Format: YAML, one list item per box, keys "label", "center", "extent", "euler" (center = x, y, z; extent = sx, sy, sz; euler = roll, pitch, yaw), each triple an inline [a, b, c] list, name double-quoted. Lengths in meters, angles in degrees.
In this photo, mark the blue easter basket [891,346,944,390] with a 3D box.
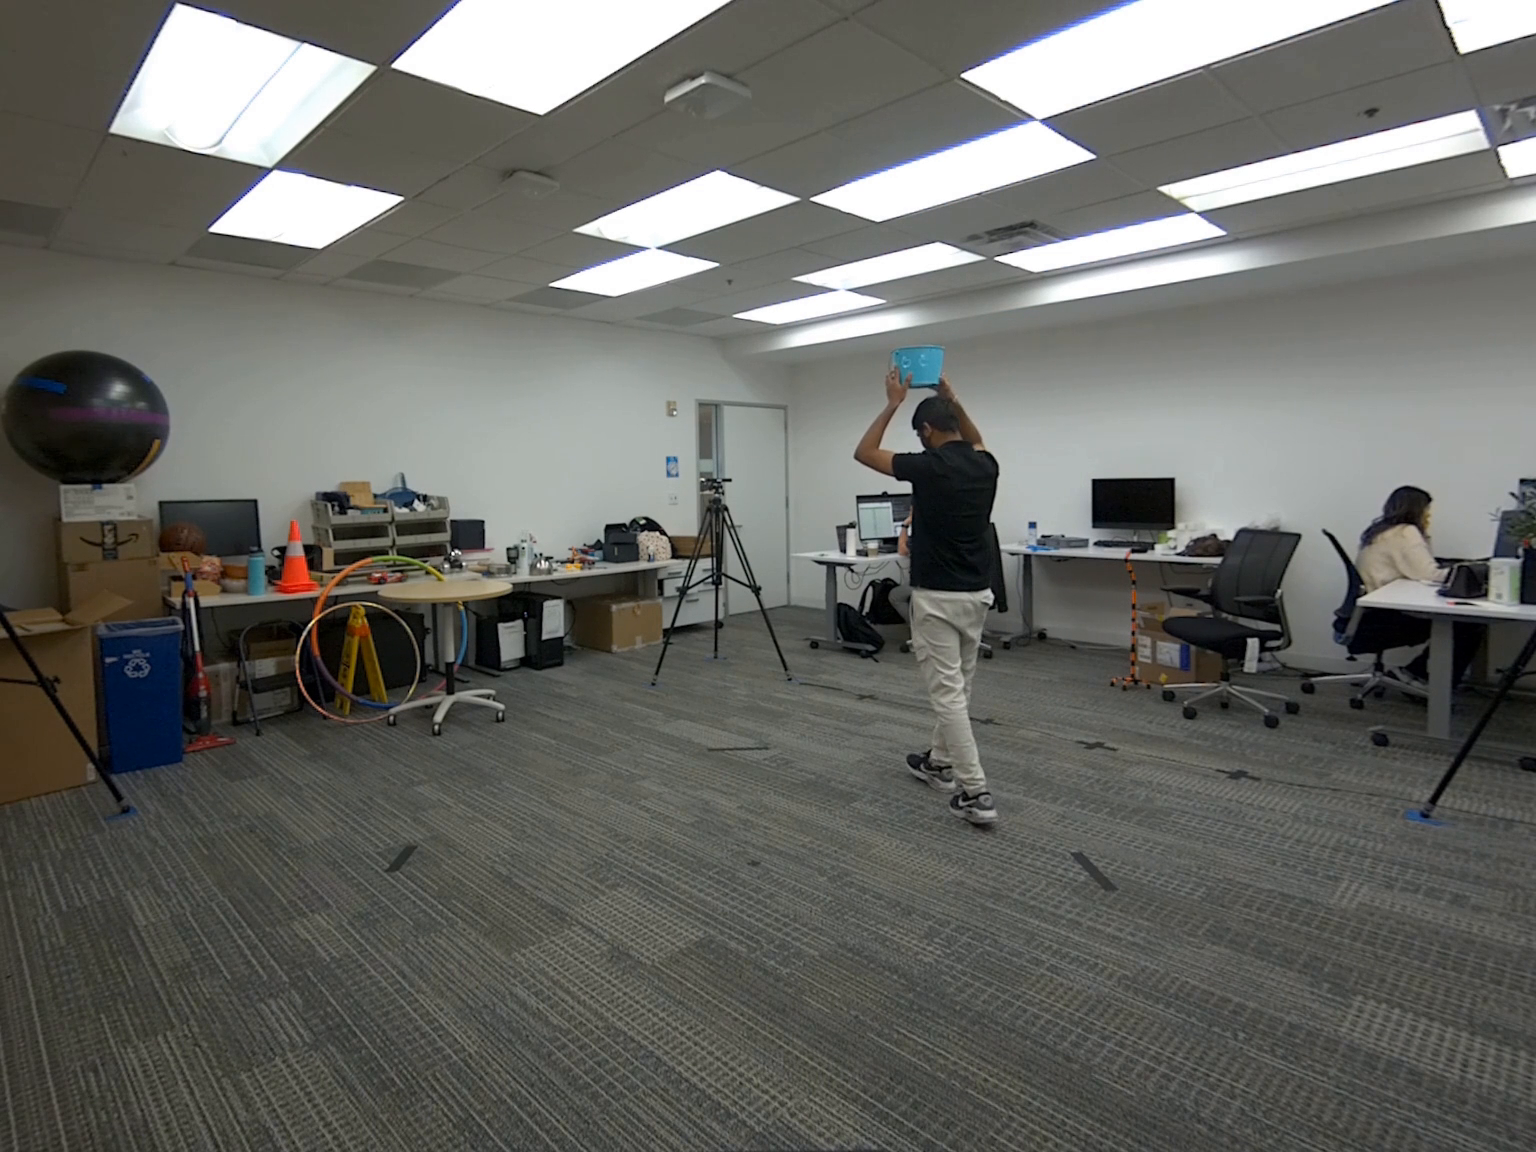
- label: "blue easter basket"
  center: [0.663, -0.905, 3.724]
  extent: [0.243, 0.156, 0.244]
  euler: [-1, 1, -2]
